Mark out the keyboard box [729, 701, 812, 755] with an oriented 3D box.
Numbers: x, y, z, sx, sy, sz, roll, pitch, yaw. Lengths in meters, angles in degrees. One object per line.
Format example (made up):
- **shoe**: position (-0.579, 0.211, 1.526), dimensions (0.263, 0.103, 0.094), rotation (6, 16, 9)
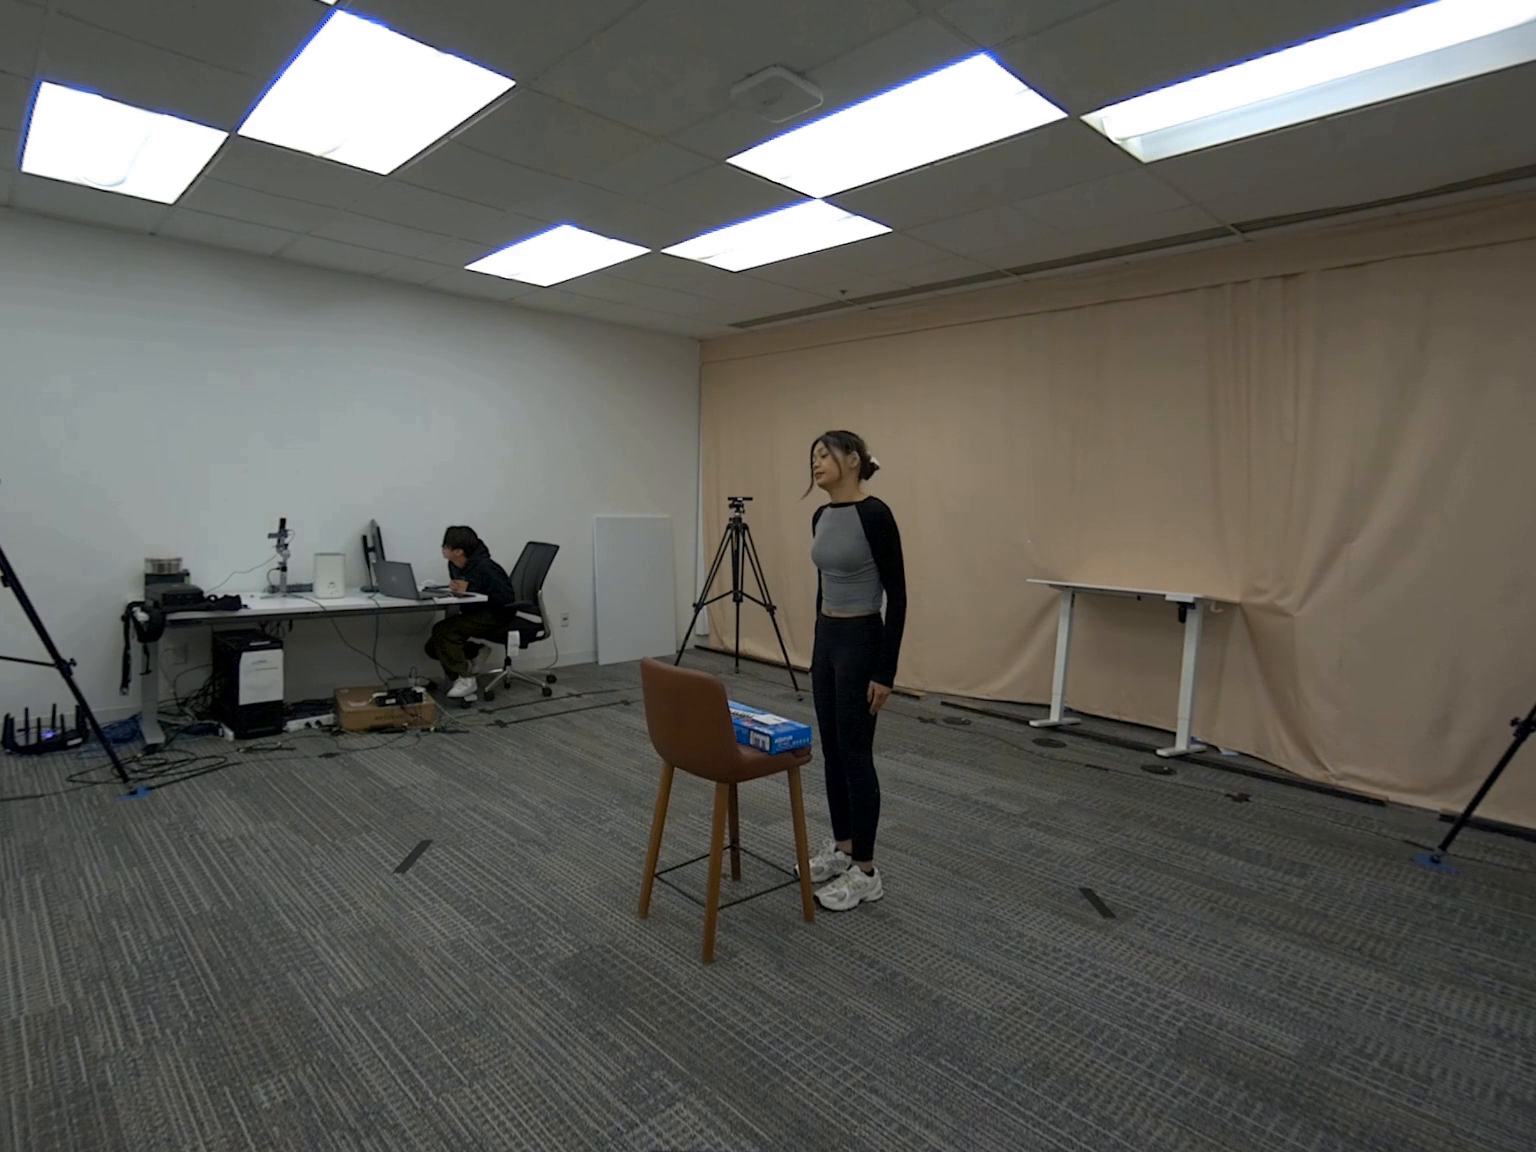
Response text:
- **keyboard box**: position (-0.072, 0.494, 2.788), dimensions (0.172, 0.059, 0.448), rotation (-3, 7, -40)
